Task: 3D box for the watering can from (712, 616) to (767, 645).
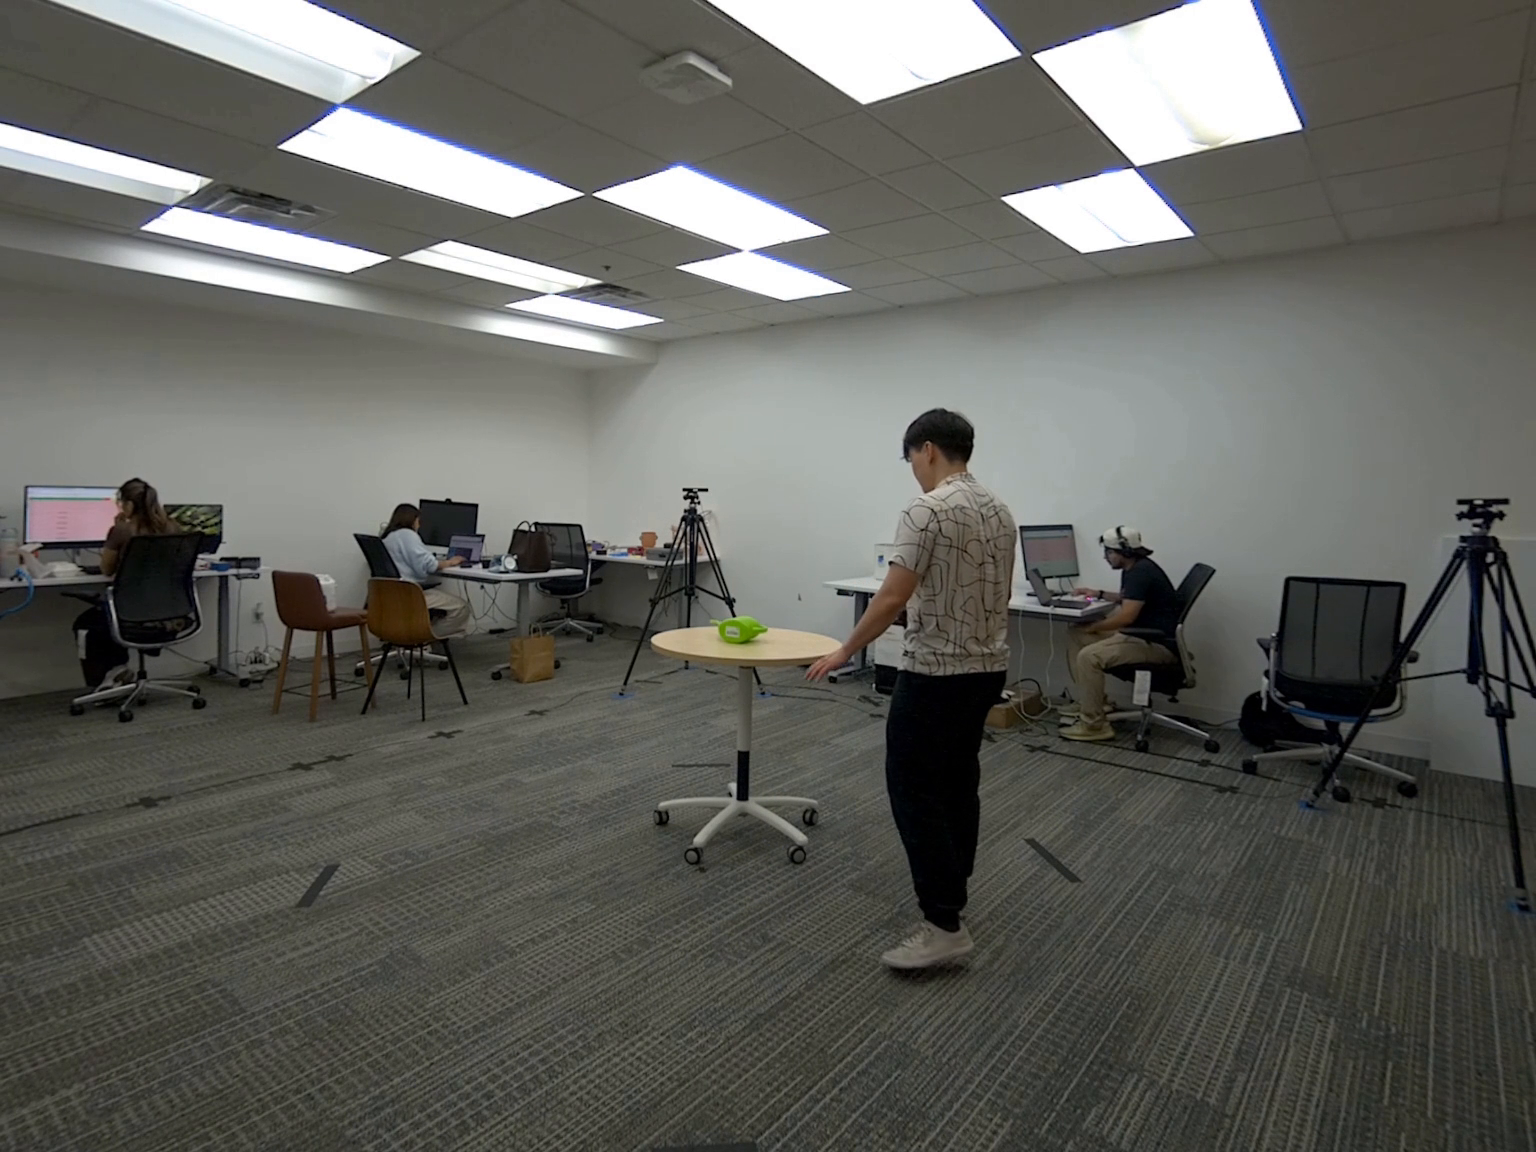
[{"bbox_3d":[-0.152,0.215,3.445,0.284,0.098,0.172,-9,-1,27],"label":"watering can"}]
